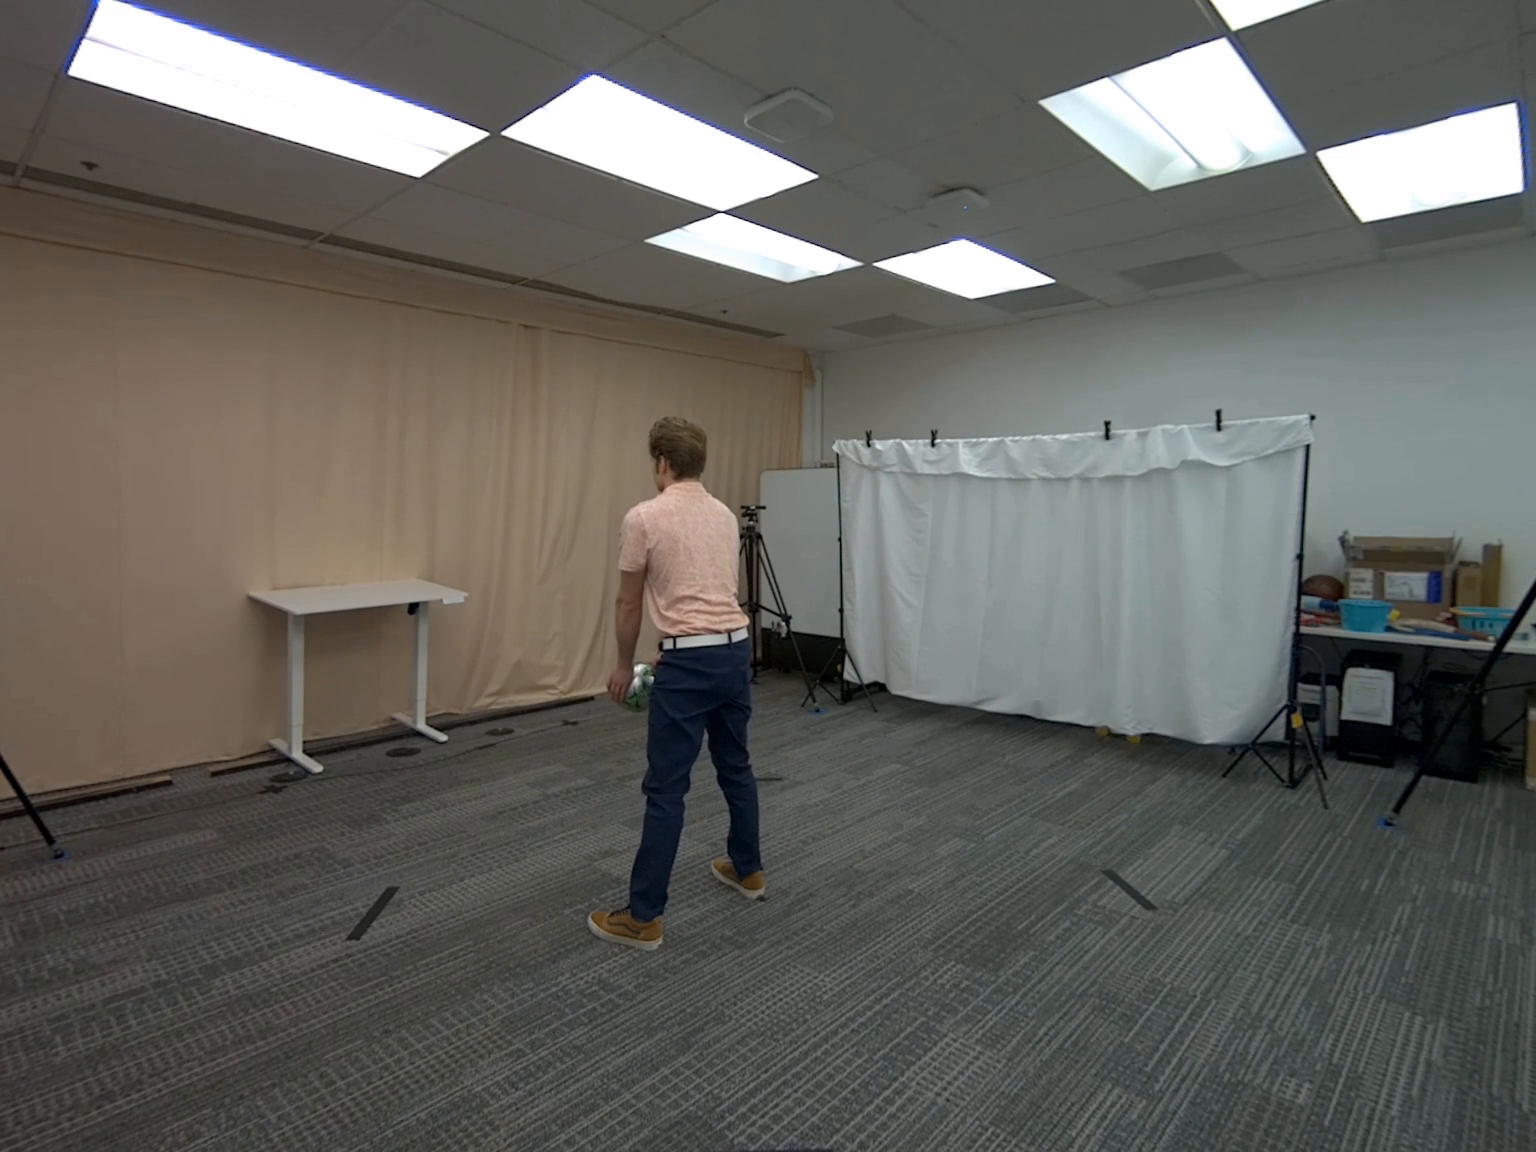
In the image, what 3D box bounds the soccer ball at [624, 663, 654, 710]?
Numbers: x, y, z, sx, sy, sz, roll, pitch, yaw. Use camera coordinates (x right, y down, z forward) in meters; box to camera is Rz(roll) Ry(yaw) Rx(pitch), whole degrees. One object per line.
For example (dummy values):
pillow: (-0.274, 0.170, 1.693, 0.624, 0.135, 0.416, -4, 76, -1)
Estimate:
soccer ball: (-0.480, 0.404, 3.115, 0.187, 0.187, 0.188, 0, 4, -2)
